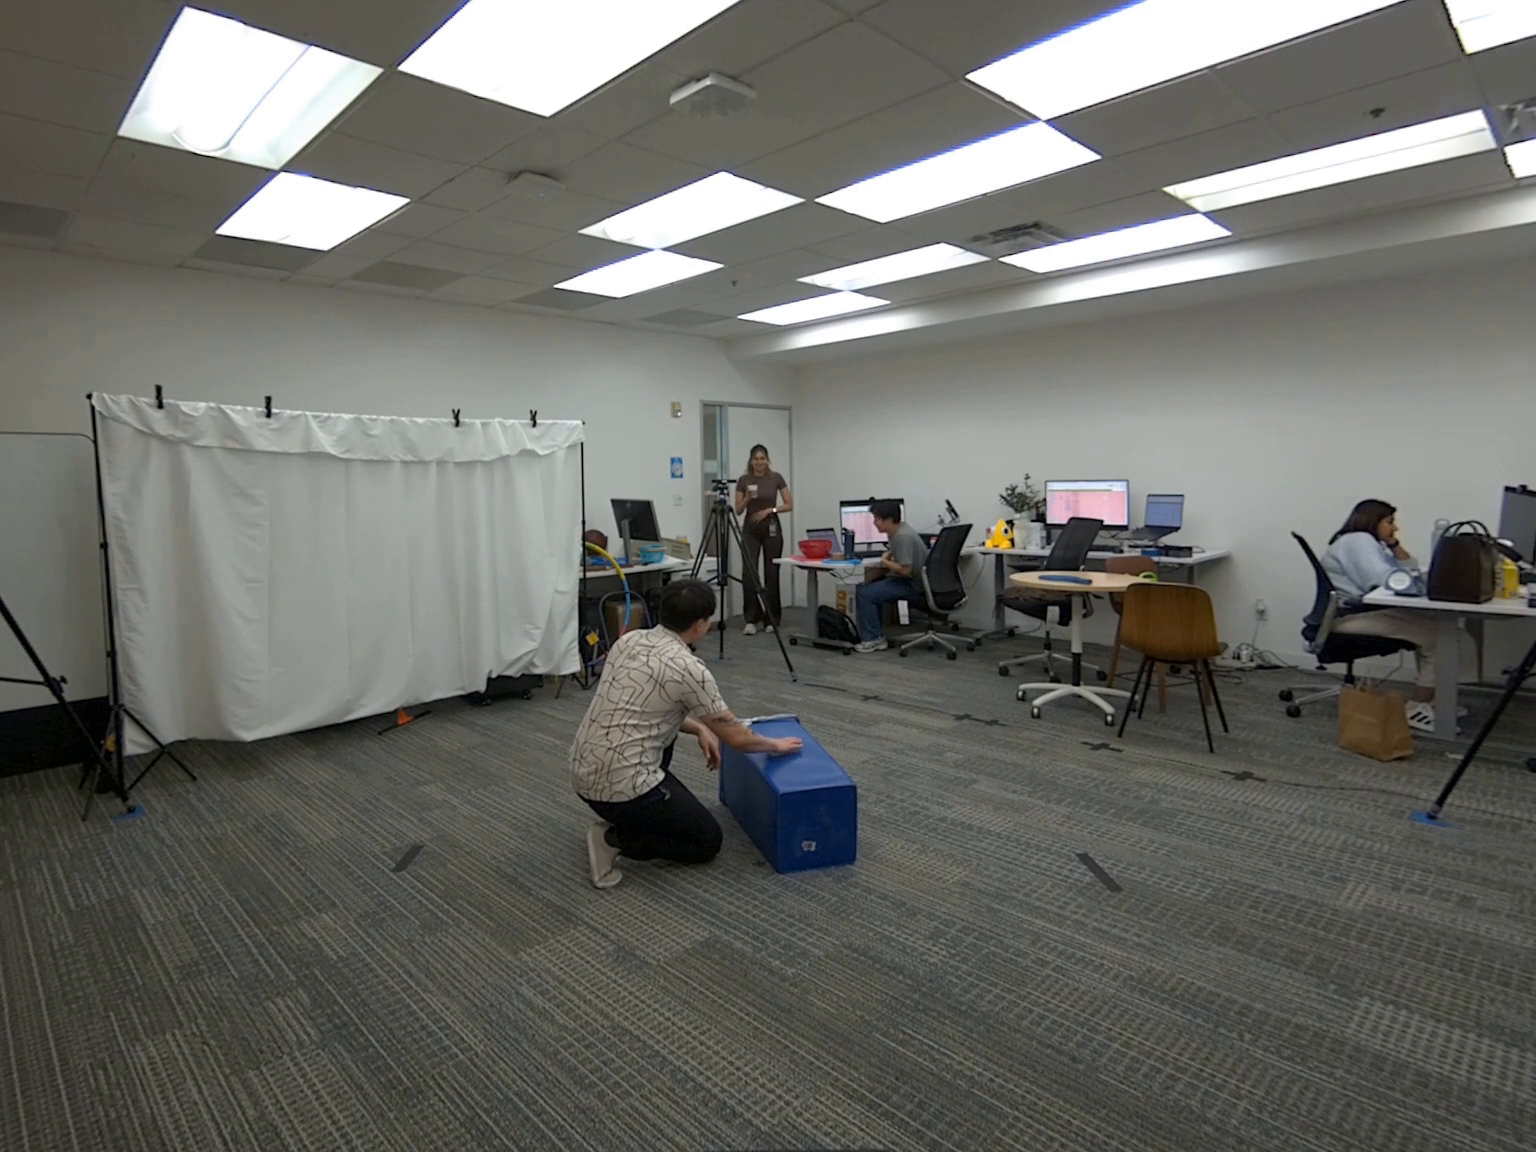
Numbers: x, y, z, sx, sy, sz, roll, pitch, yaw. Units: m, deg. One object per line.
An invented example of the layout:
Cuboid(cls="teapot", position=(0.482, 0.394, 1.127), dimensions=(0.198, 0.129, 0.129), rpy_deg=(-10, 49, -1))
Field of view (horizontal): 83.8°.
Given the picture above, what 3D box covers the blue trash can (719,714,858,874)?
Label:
Cuboid(cls="blue trash can", position=(0.064, 0.846, 3.380), dimensions=(0.373, 0.371, 0.729), rpy_deg=(-3, 9, -16))
